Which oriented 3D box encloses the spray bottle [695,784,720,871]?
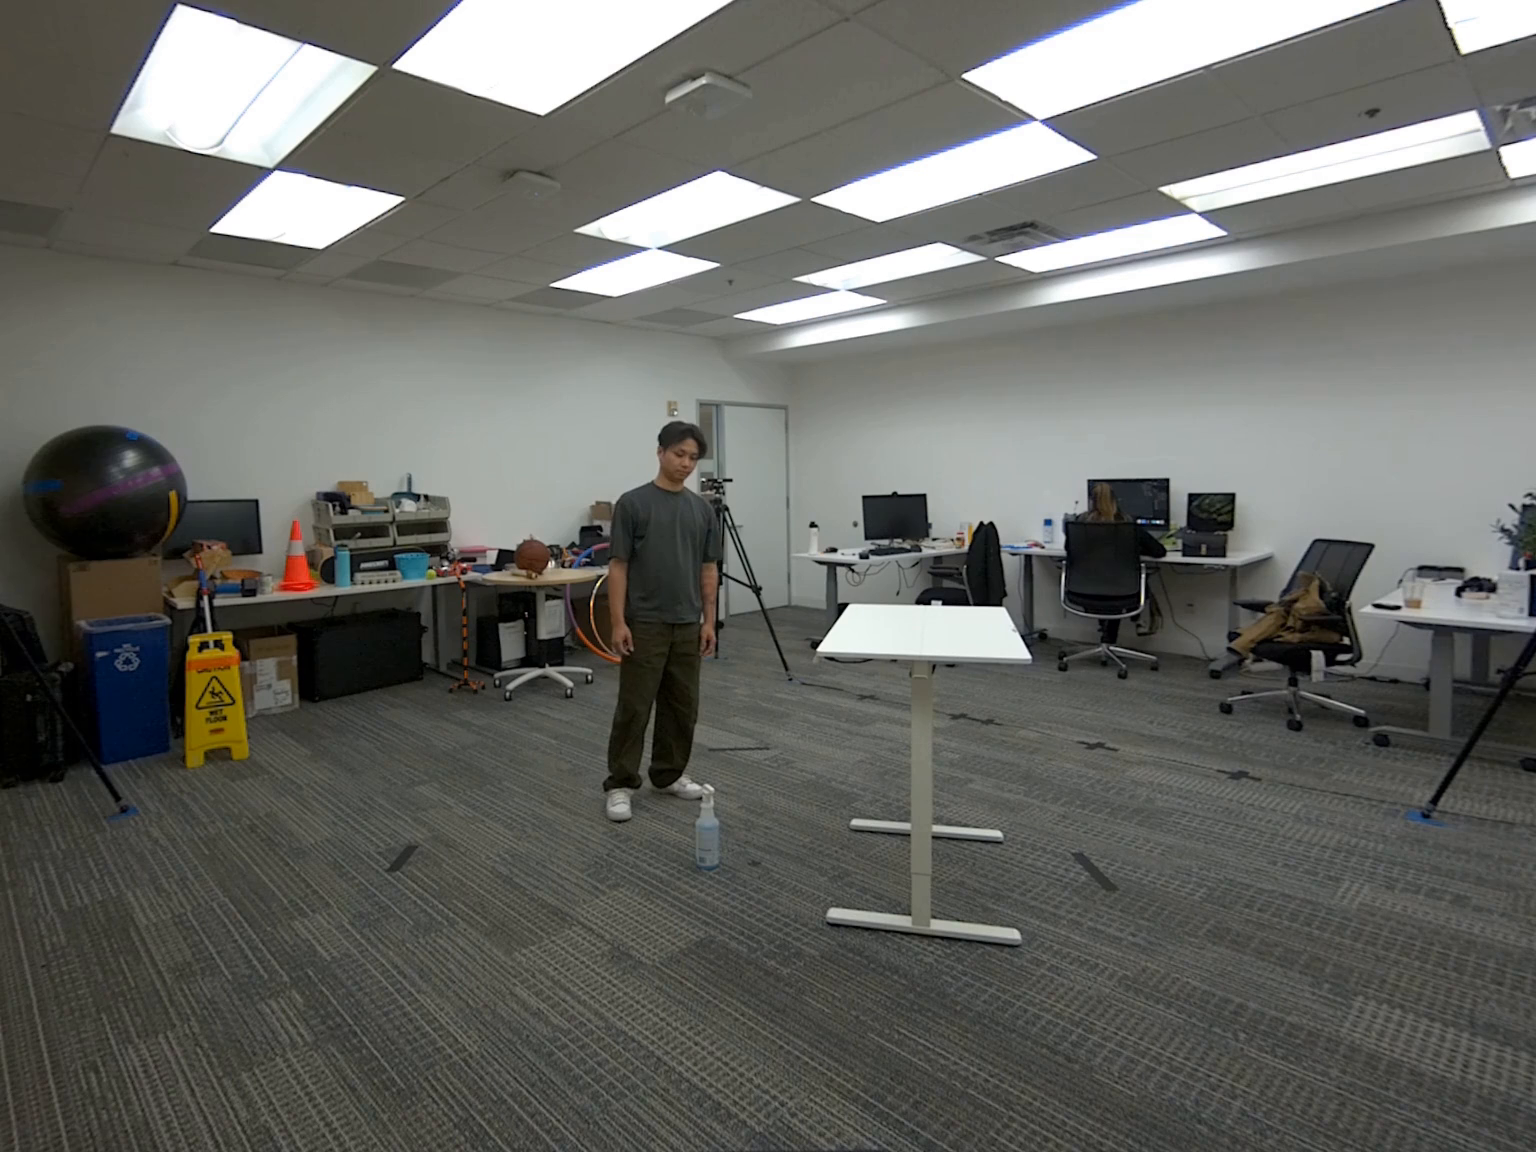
[{"bbox_3d":[-0.217,0.904,3.092,0.087,0.296,0.090,1,5,0],"label":"spray bottle"}]
